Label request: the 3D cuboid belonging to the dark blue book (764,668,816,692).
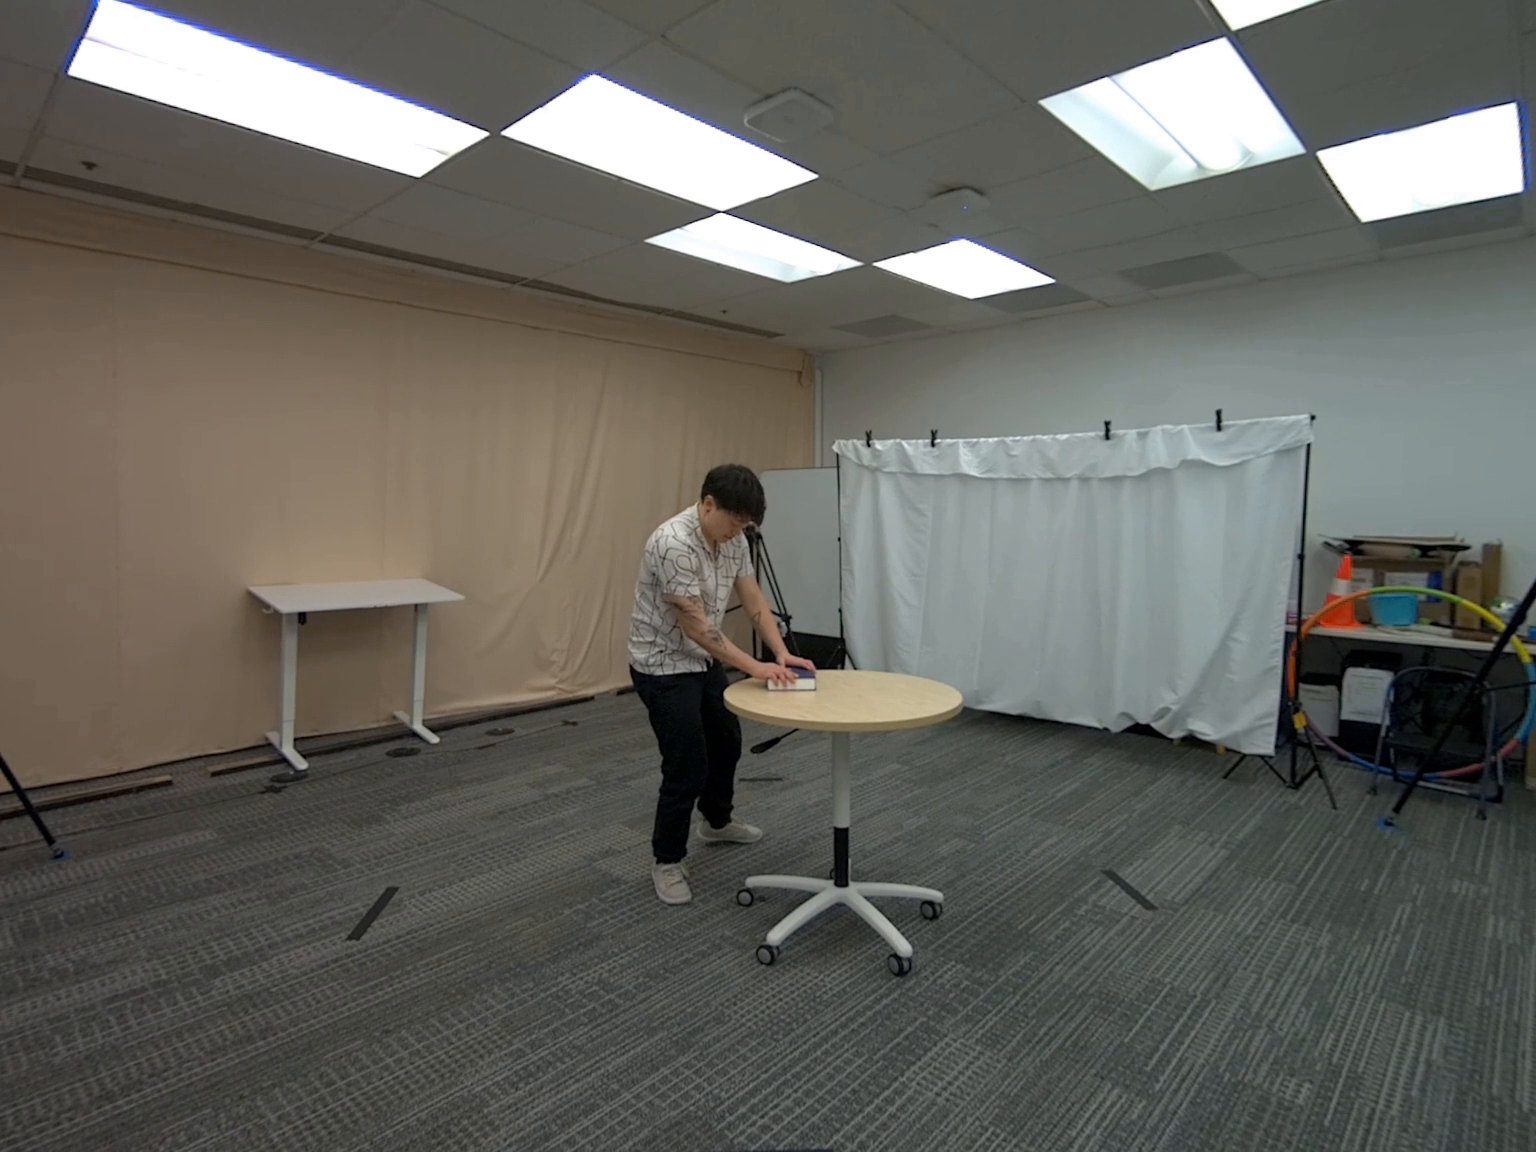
[{"bbox_3d":[0.084,0.357,2.899,0.163,0.045,0.245,-2,3,-1],"label":"dark blue book"}]
